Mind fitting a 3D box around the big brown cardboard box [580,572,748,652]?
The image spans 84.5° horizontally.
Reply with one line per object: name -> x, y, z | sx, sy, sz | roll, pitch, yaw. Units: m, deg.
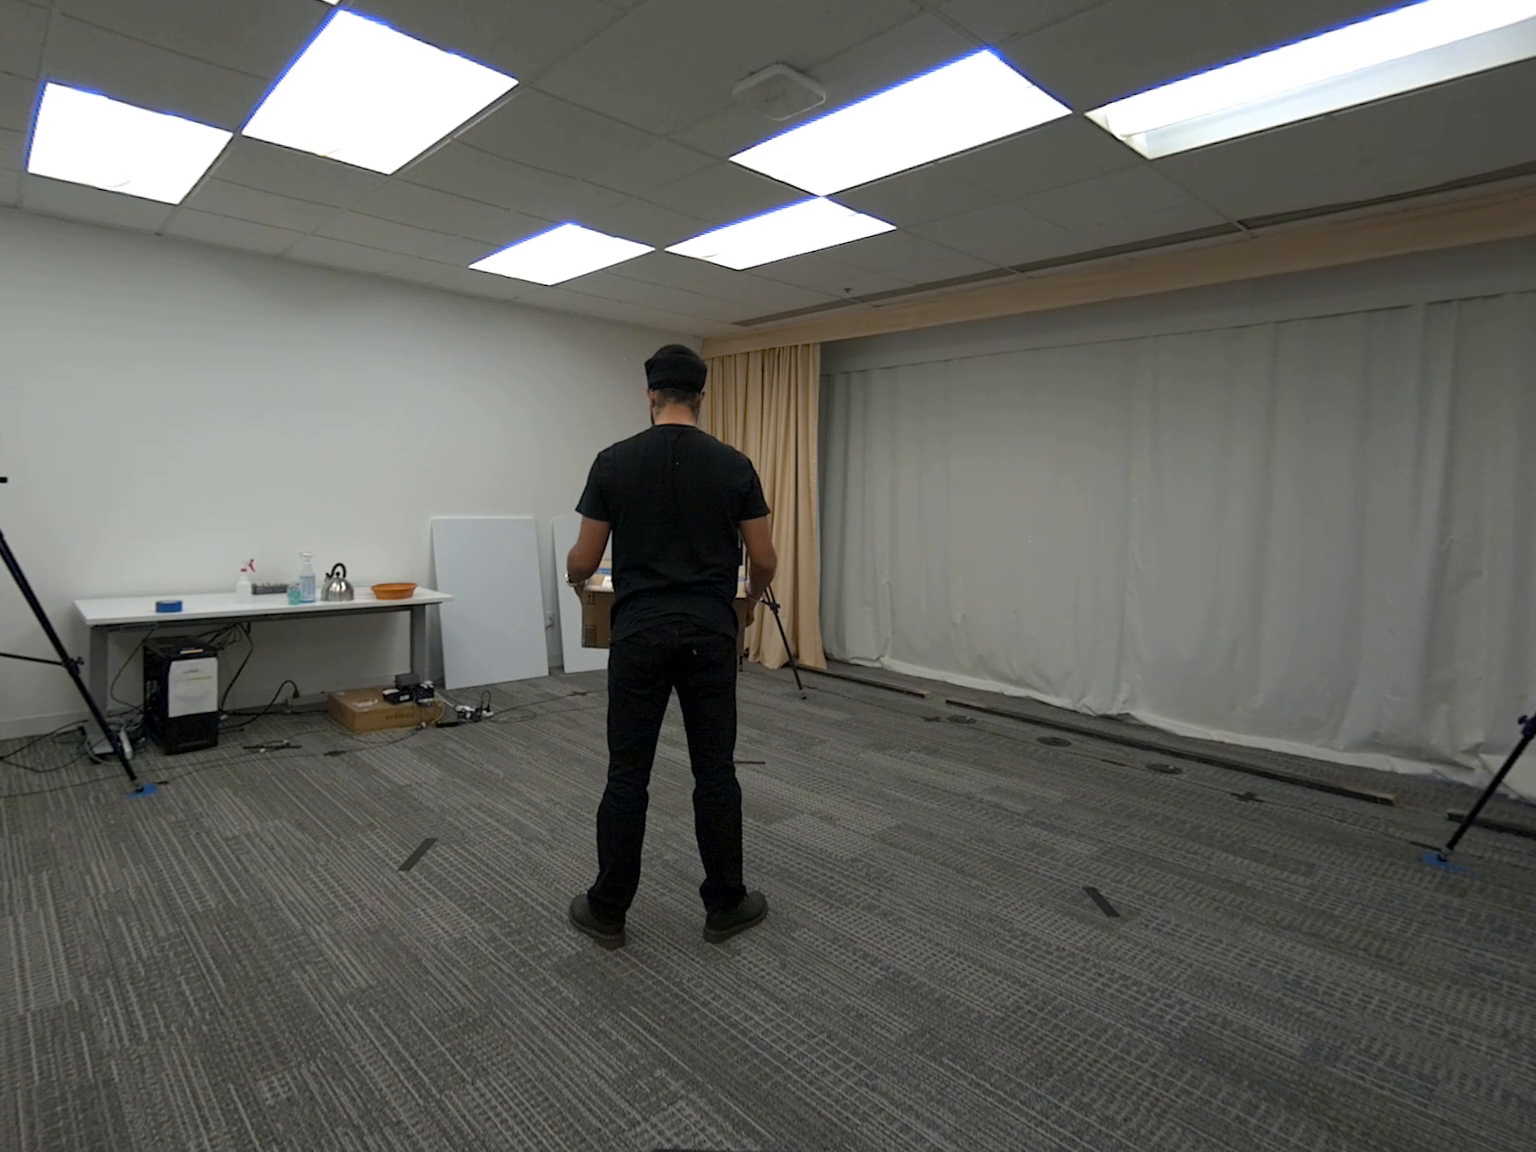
big brown cardboard box -> -0.370, 0.108, 3.085 | 0.587, 0.231, 0.422 | 3, 13, -3
